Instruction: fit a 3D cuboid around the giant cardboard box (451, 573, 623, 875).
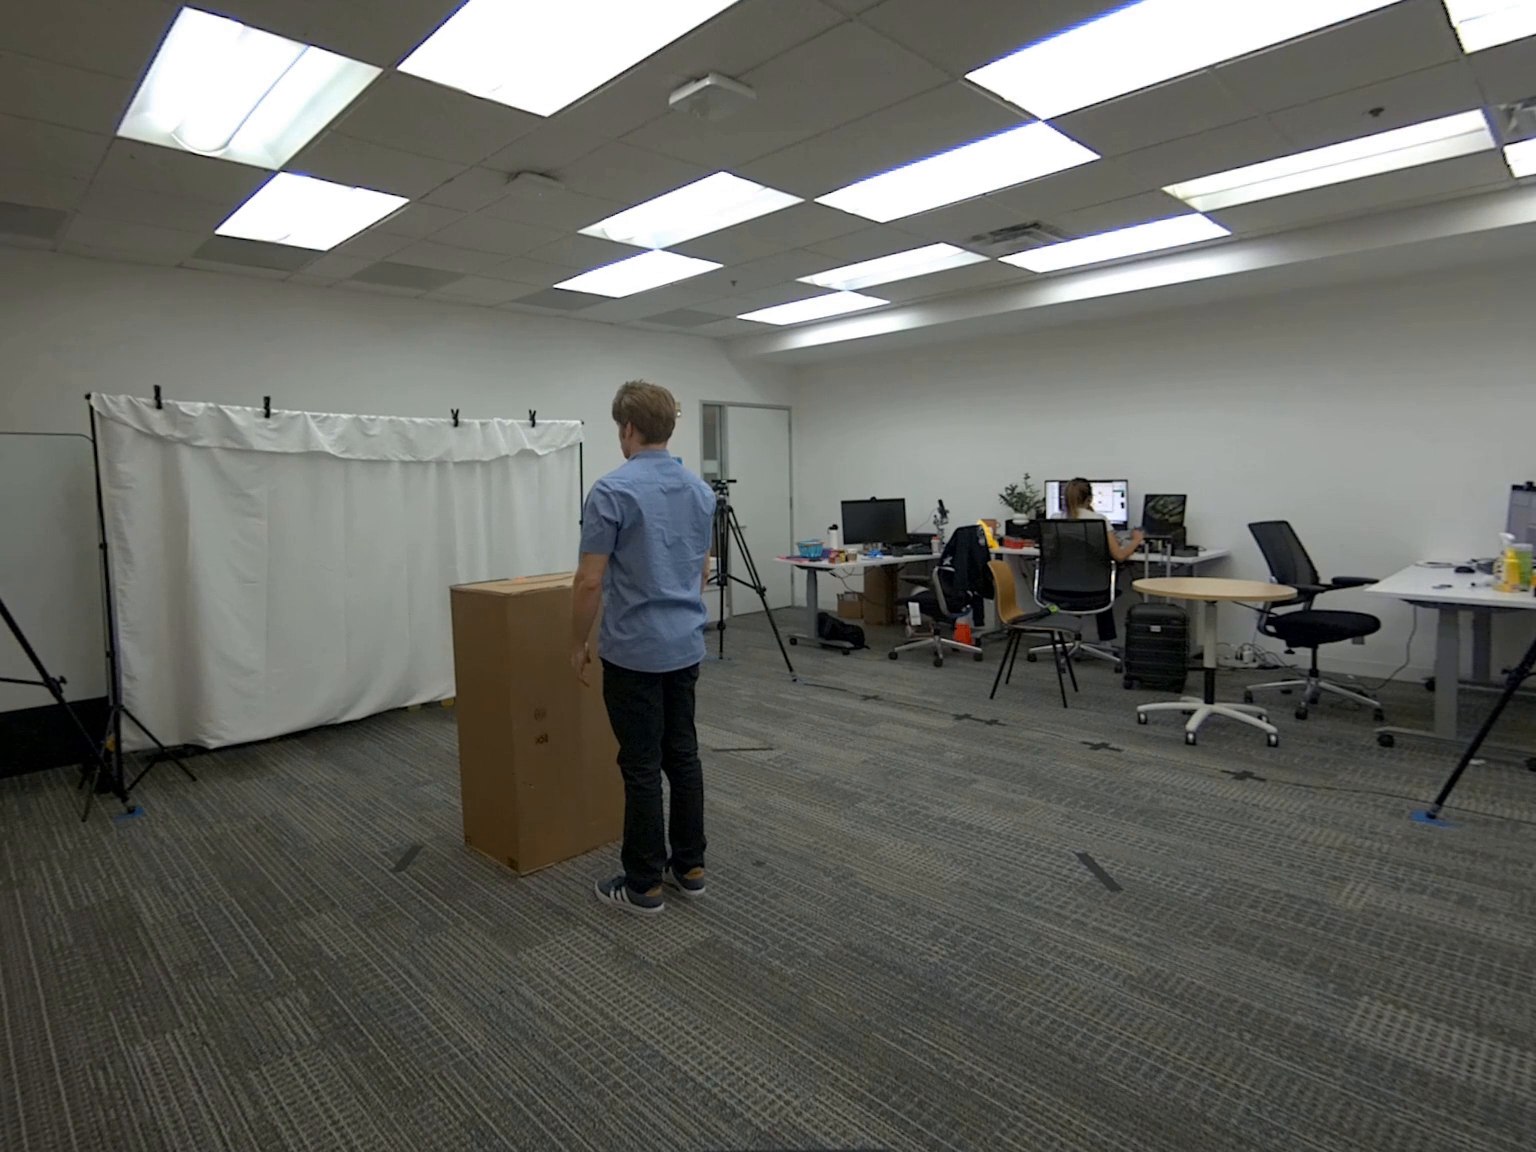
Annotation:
[{"bbox_3d":[-0.865,0.529,3.357,0.439,1.022,0.562,3,6,45],"label":"giant cardboard box"}]
